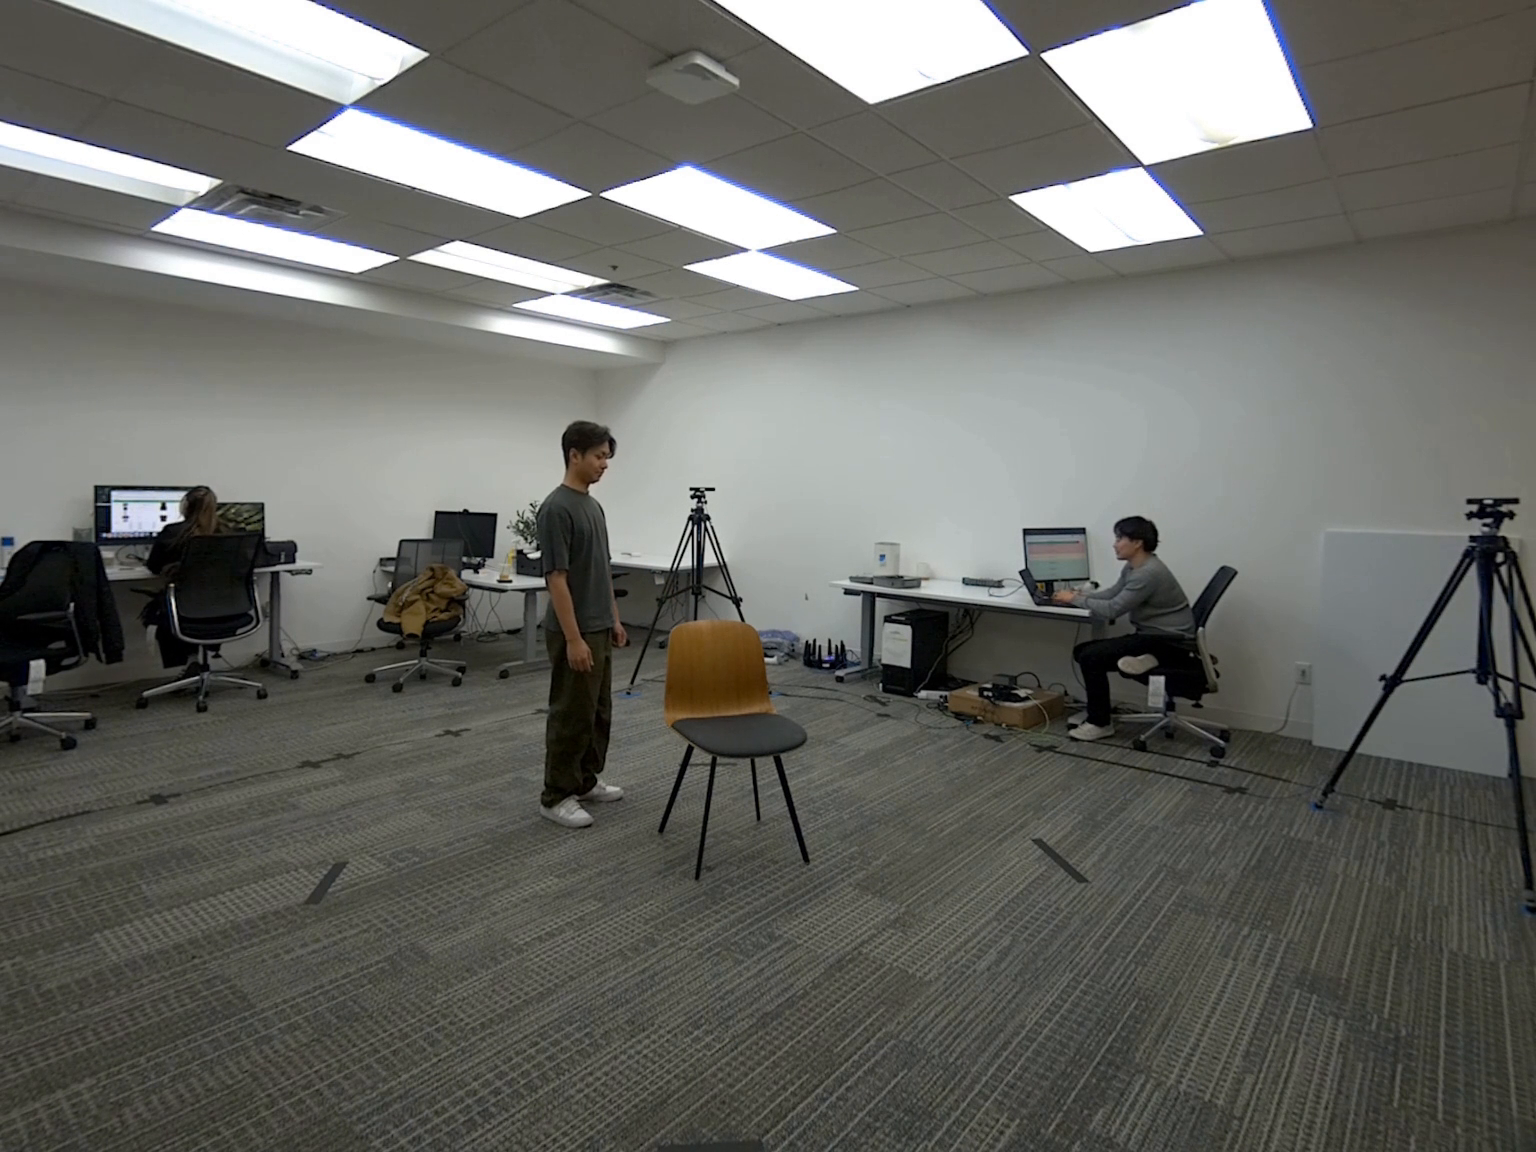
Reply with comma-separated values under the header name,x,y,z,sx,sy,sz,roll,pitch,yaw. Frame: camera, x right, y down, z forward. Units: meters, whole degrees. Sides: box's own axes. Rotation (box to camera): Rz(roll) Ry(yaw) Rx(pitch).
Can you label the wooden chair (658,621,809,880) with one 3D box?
name,x,y,z,sx,sy,sz,roll,pitch,yaw
wooden chair,-0.140,0.625,3.265,0.467,0.878,0.534,0,-1,-23
